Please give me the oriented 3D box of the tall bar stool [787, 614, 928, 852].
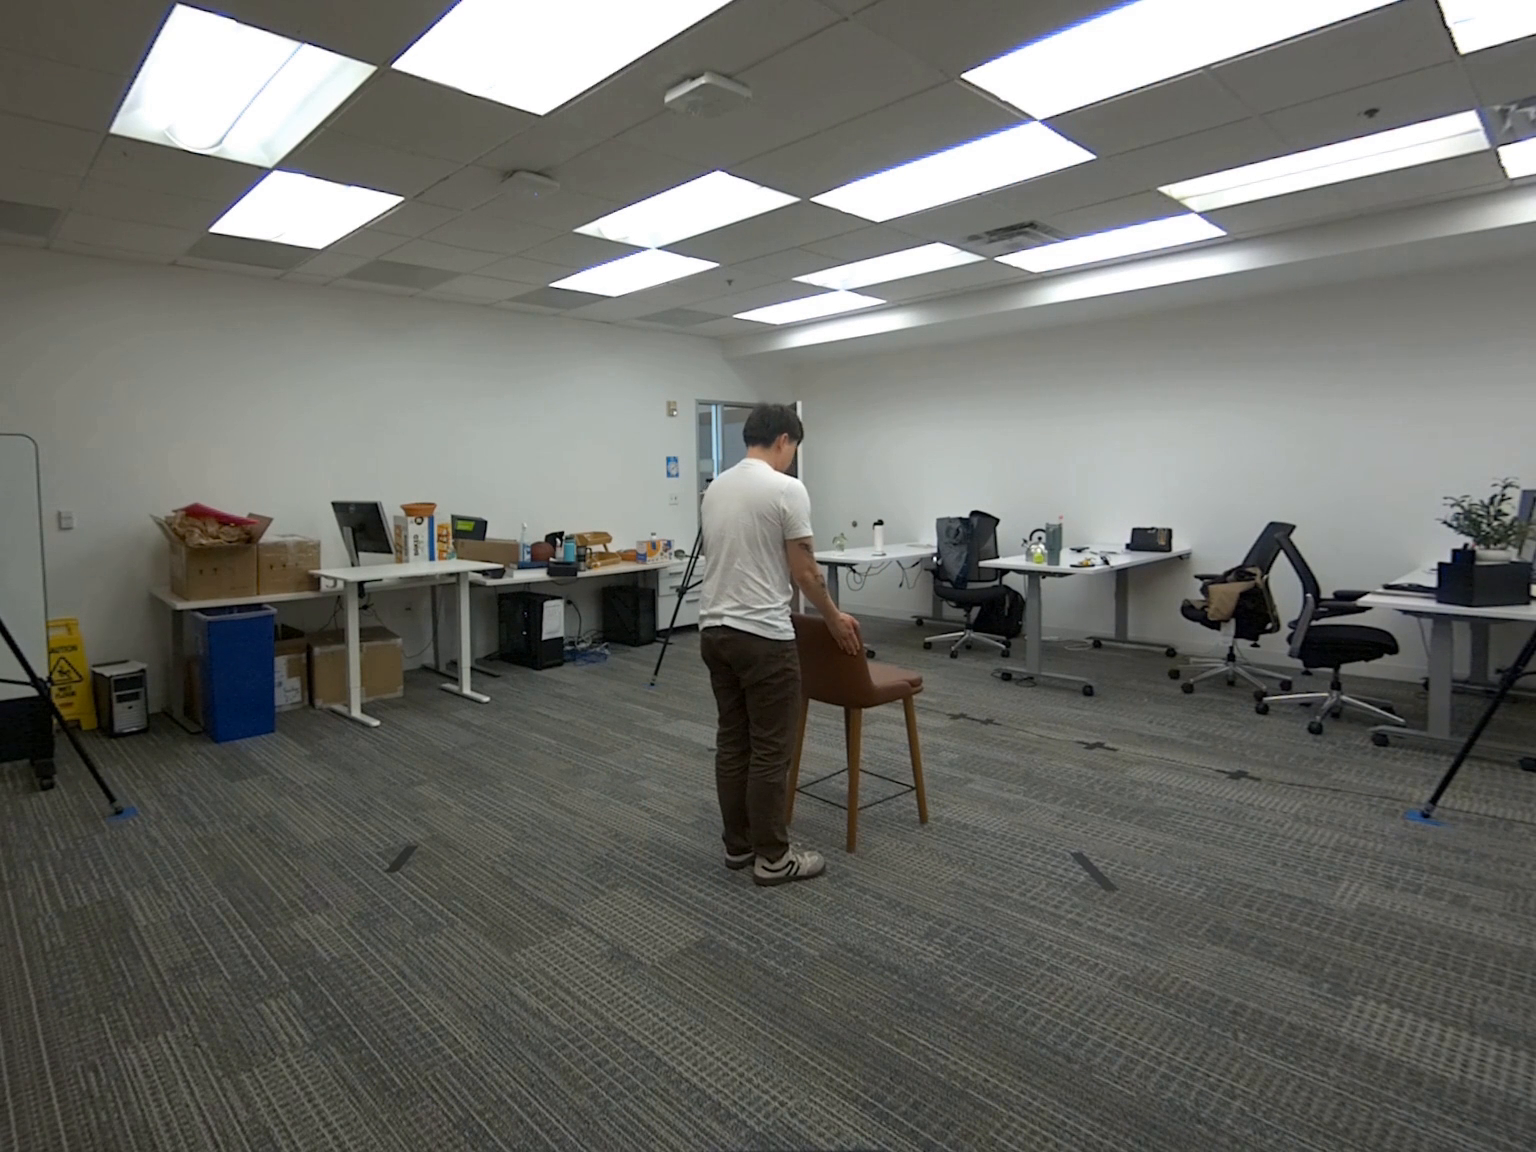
[{"bbox_3d":[0.329,0.563,3.429,0.456,0.885,0.470,-7,7,-41],"label":"tall bar stool"}]
